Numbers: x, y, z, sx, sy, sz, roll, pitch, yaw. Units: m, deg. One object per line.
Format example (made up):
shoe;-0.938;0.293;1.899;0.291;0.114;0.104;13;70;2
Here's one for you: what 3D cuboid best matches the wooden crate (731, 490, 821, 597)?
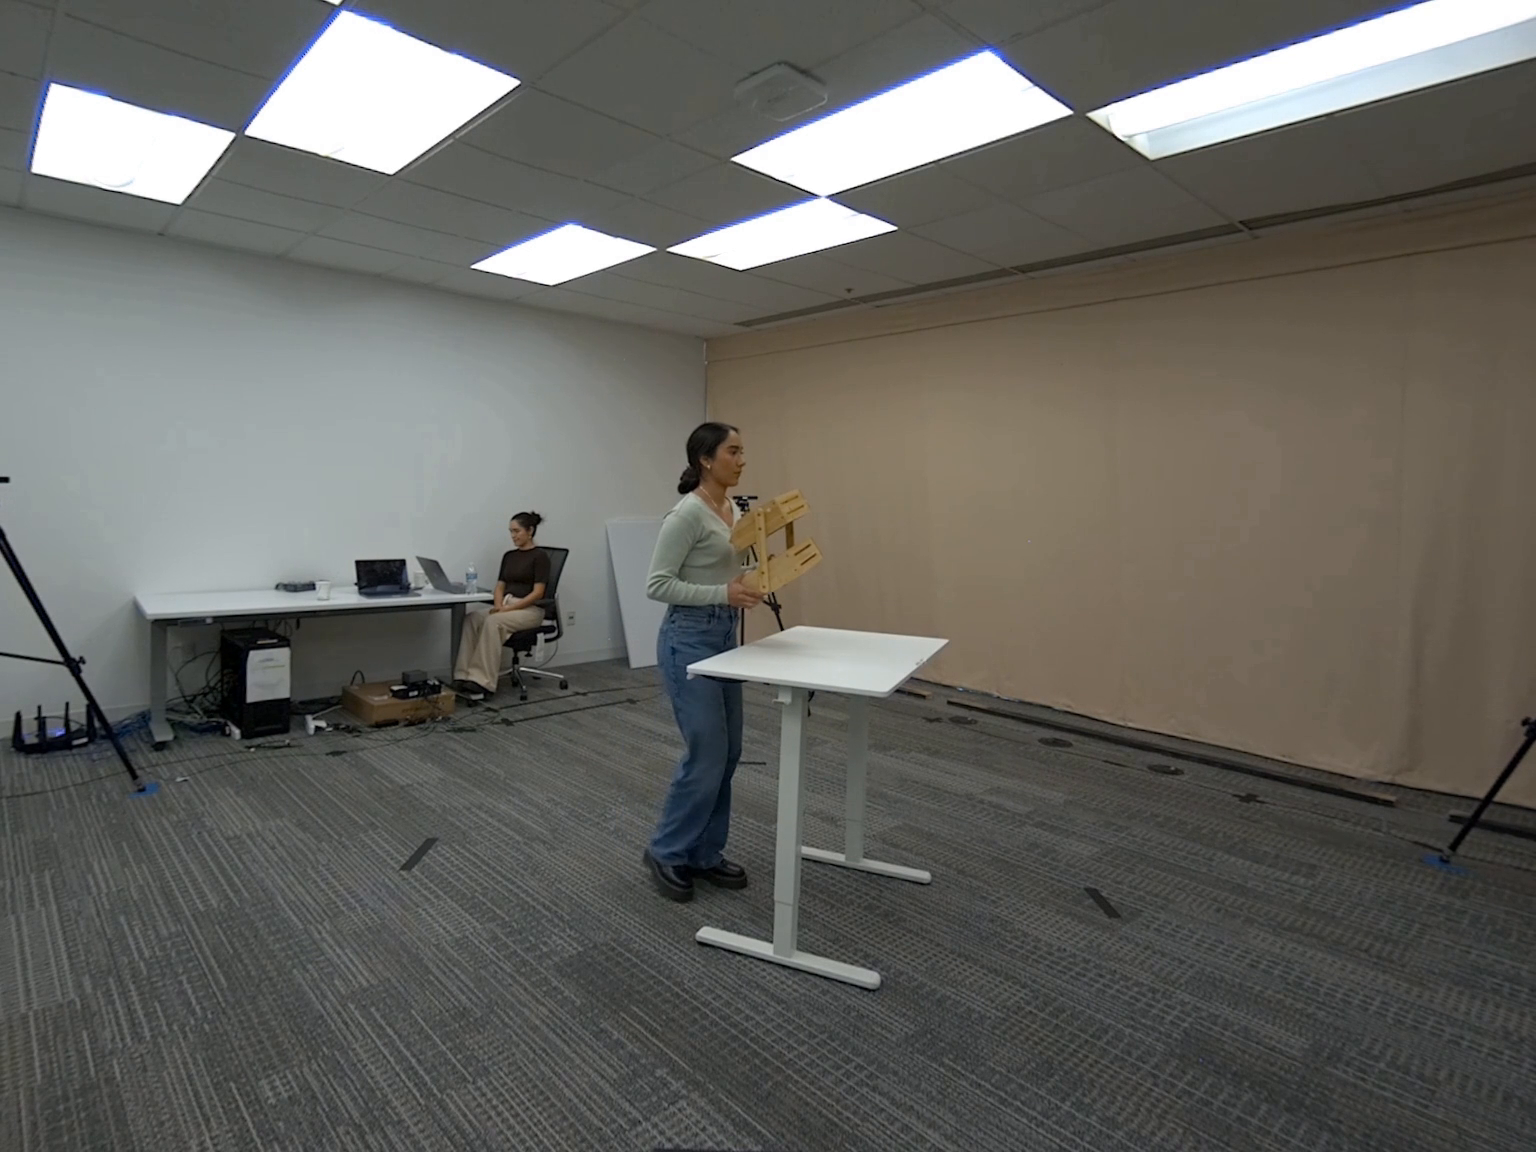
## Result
wooden crate;0.001;-0.103;2.881;0.304;0.273;0.322;-30;1;19
